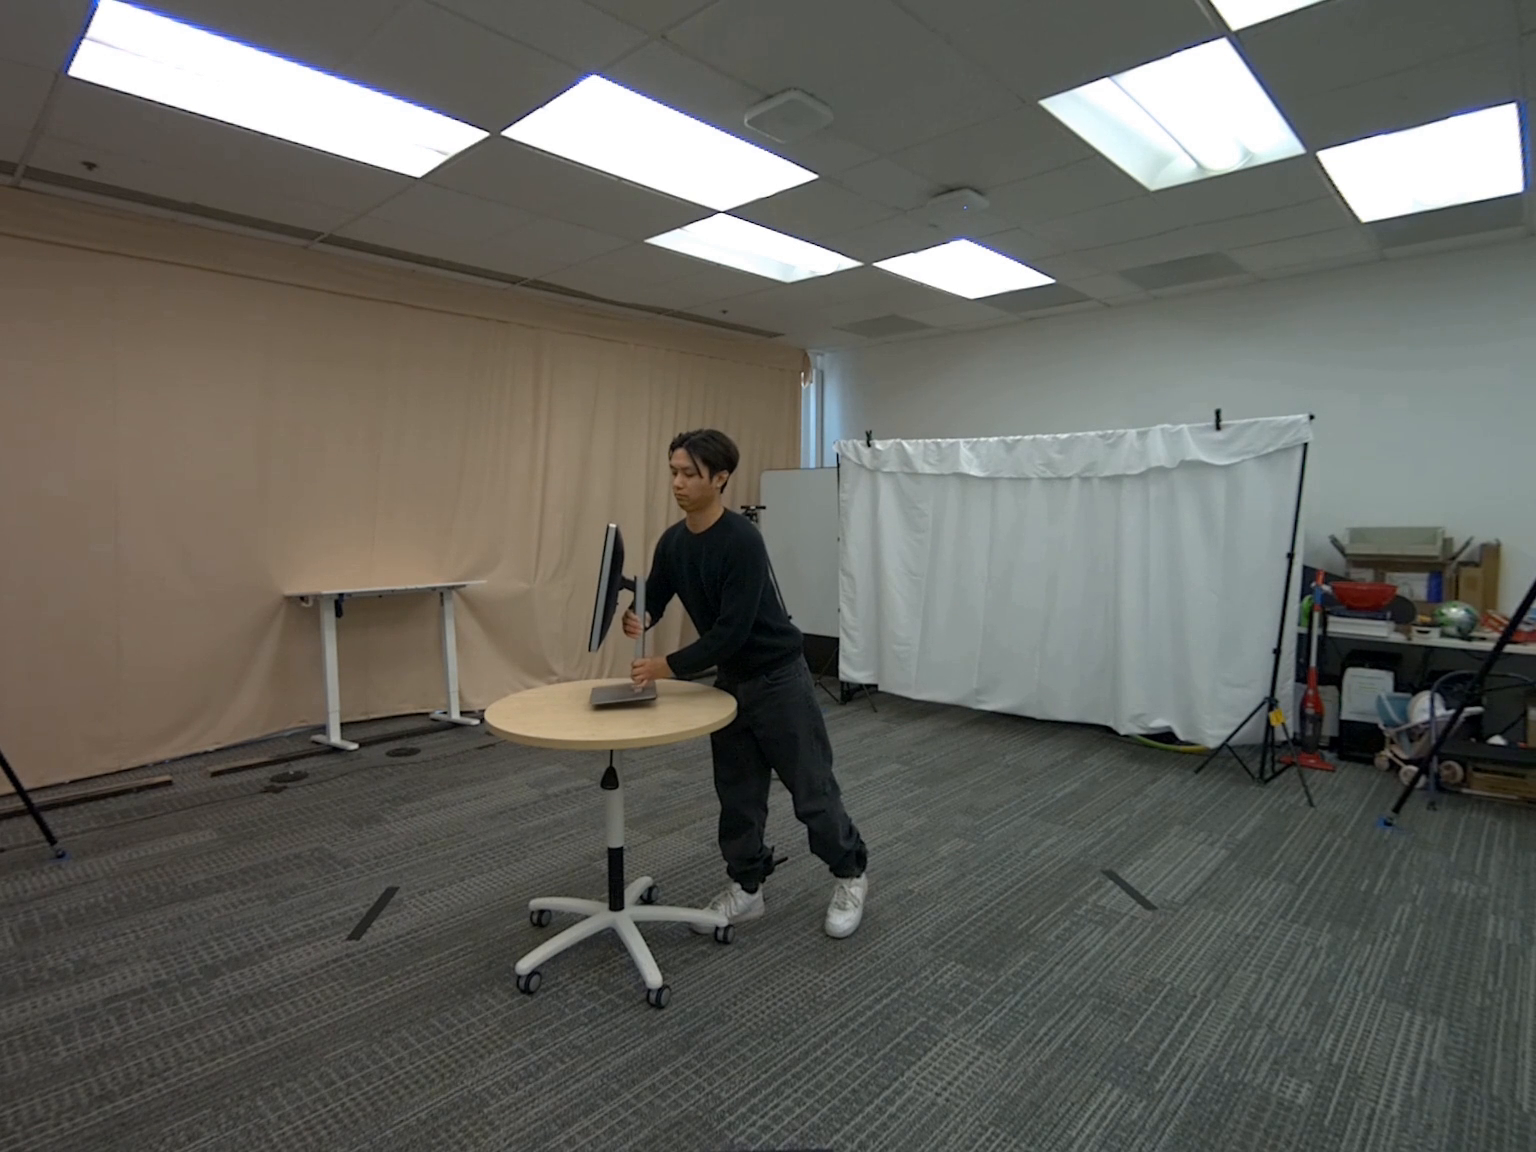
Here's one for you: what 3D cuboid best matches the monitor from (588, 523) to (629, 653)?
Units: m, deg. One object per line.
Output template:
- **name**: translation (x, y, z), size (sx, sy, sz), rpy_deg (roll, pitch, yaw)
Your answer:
- **monitor**: translation (-0.468, 0.107, 2.629), size (0.173, 0.514, 0.536), rpy_deg (-8, 6, -9)
